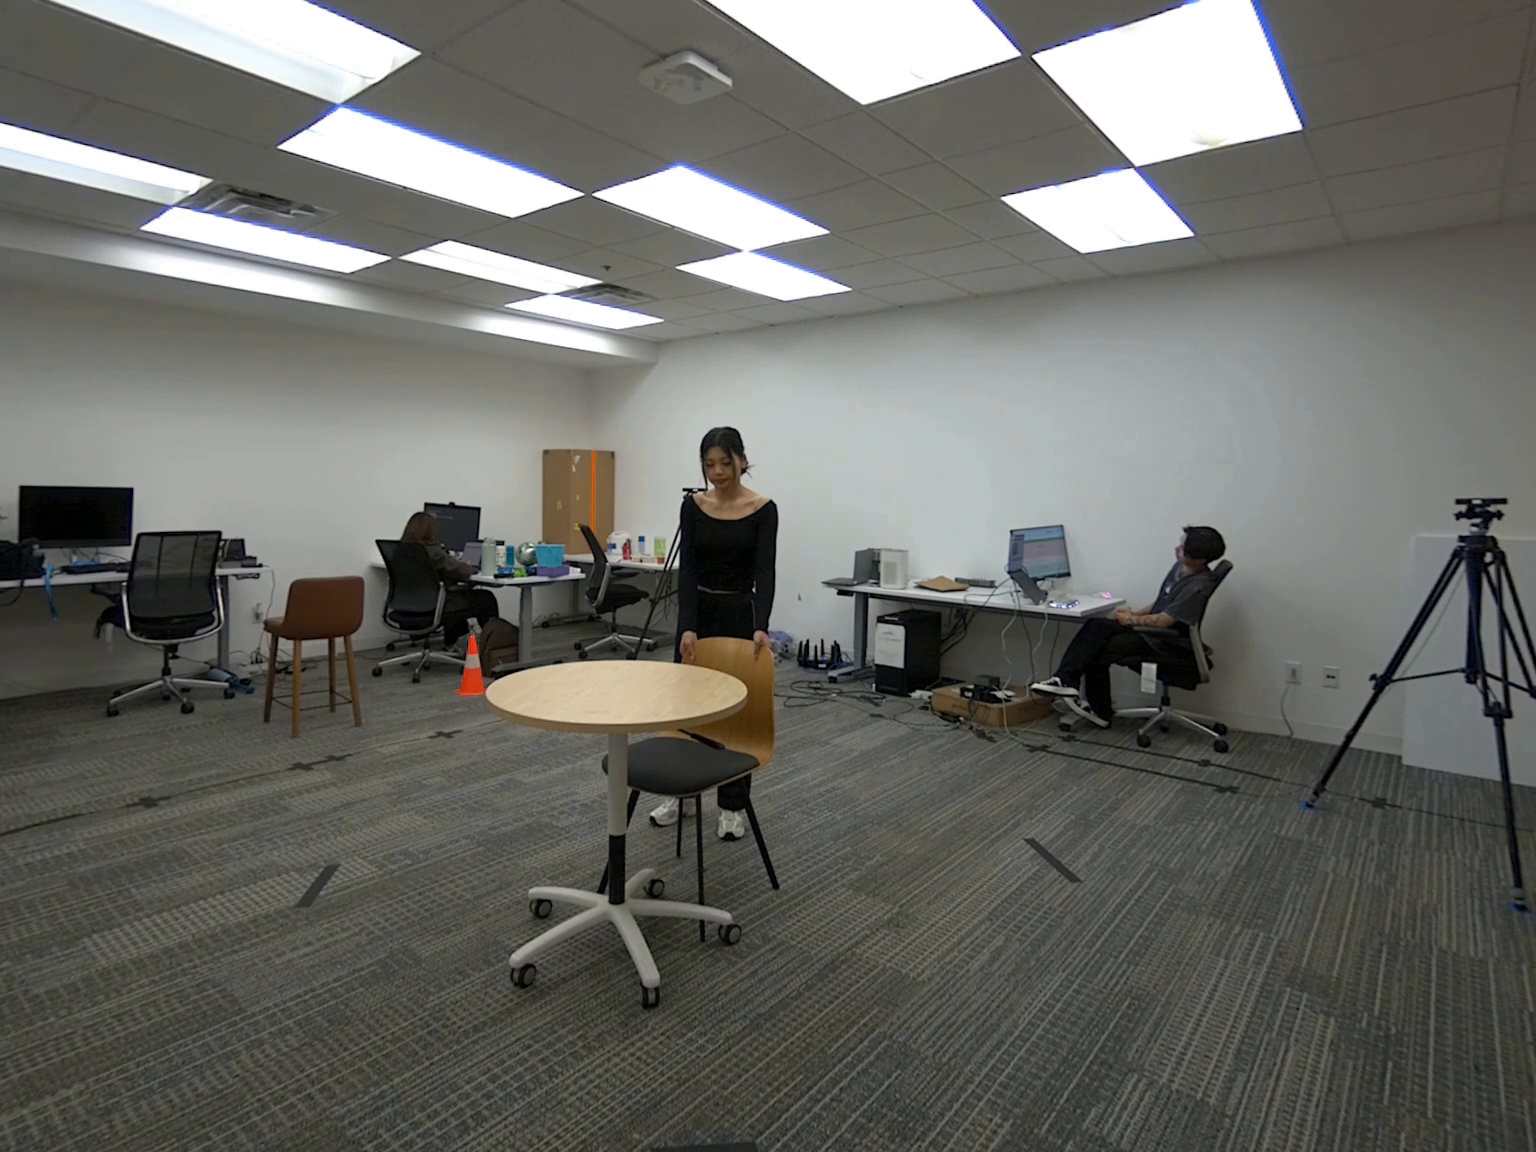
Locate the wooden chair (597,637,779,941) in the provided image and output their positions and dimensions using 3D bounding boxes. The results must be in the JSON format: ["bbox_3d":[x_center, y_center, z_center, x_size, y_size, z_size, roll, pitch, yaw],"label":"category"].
[{"bbox_3d":[-0.267,0.660,2.884,0.493,0.878,0.506,4,0,34],"label":"wooden chair"}]
